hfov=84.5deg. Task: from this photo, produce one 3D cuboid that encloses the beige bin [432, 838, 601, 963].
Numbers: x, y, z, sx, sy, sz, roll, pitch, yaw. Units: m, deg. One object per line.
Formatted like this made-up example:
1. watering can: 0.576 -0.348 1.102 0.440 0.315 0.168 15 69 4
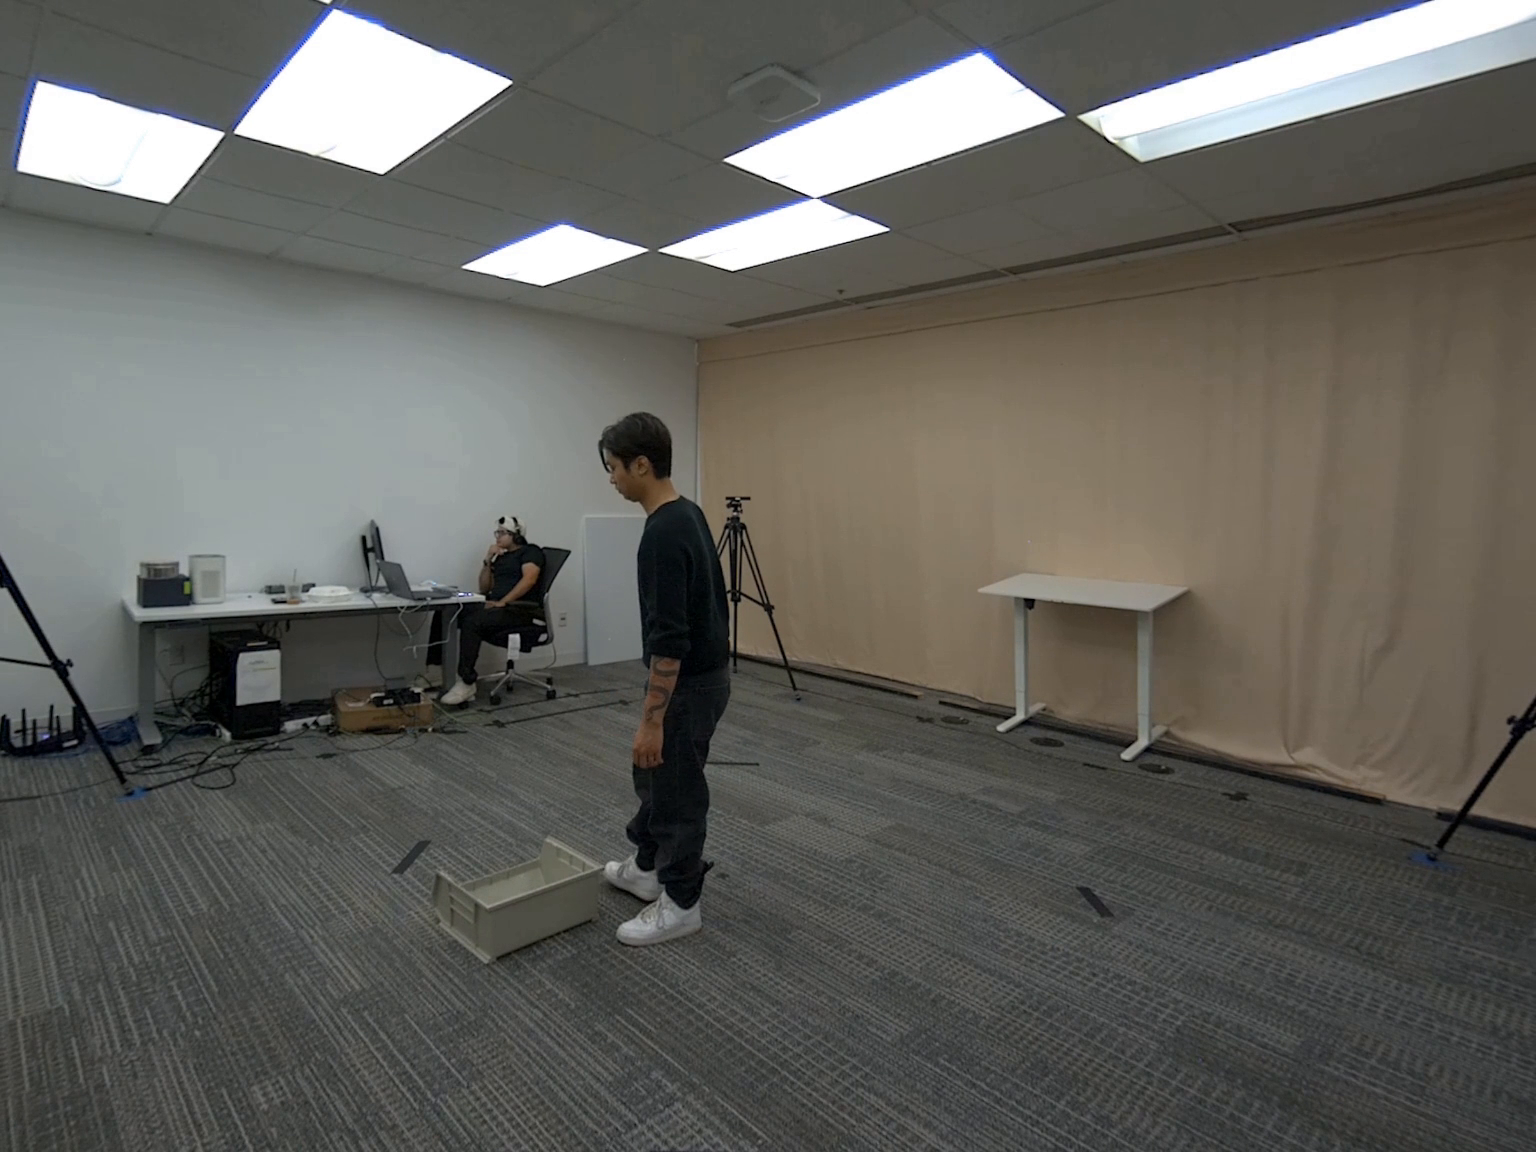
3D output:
1. beige bin: -0.821 1.036 2.746 0.387 0.188 0.412 7 7 43
